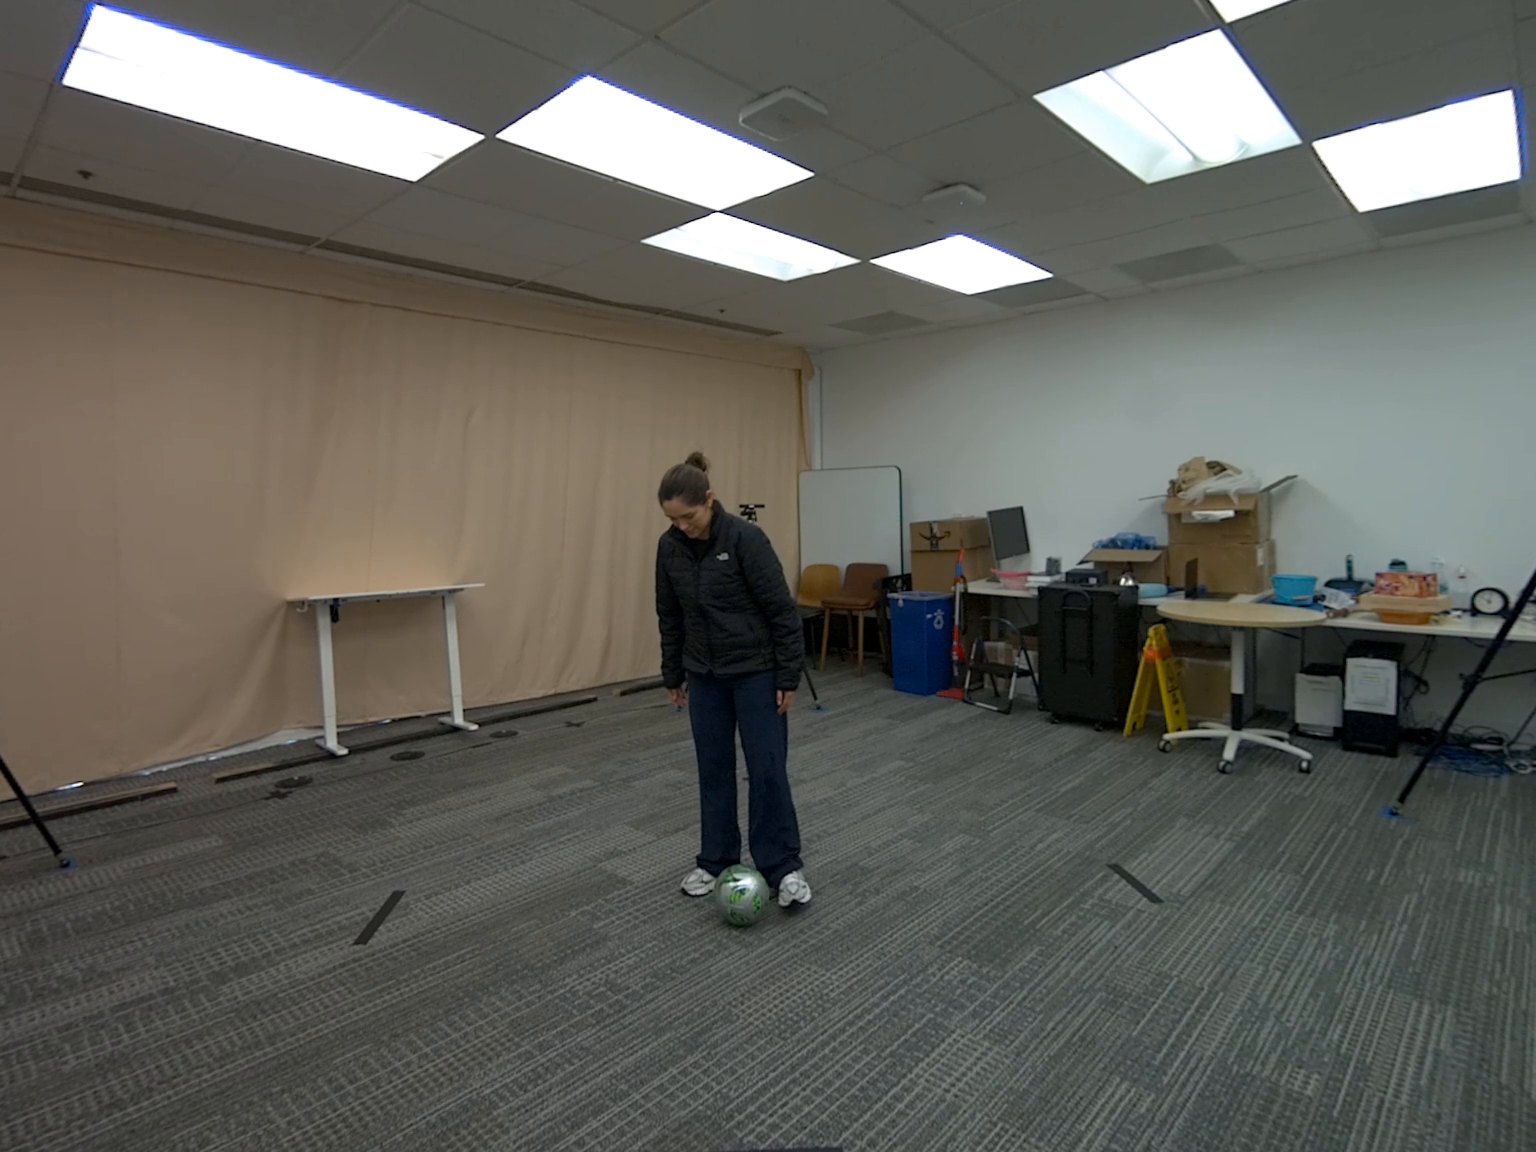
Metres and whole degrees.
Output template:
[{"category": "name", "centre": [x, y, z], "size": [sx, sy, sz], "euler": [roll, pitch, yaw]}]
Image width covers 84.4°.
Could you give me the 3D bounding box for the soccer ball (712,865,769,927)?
[{"category": "soccer ball", "centre": [-0.094, 1.059, 2.804], "size": [0.187, 0.187, 0.188], "euler": [-1, 4, -2]}]
